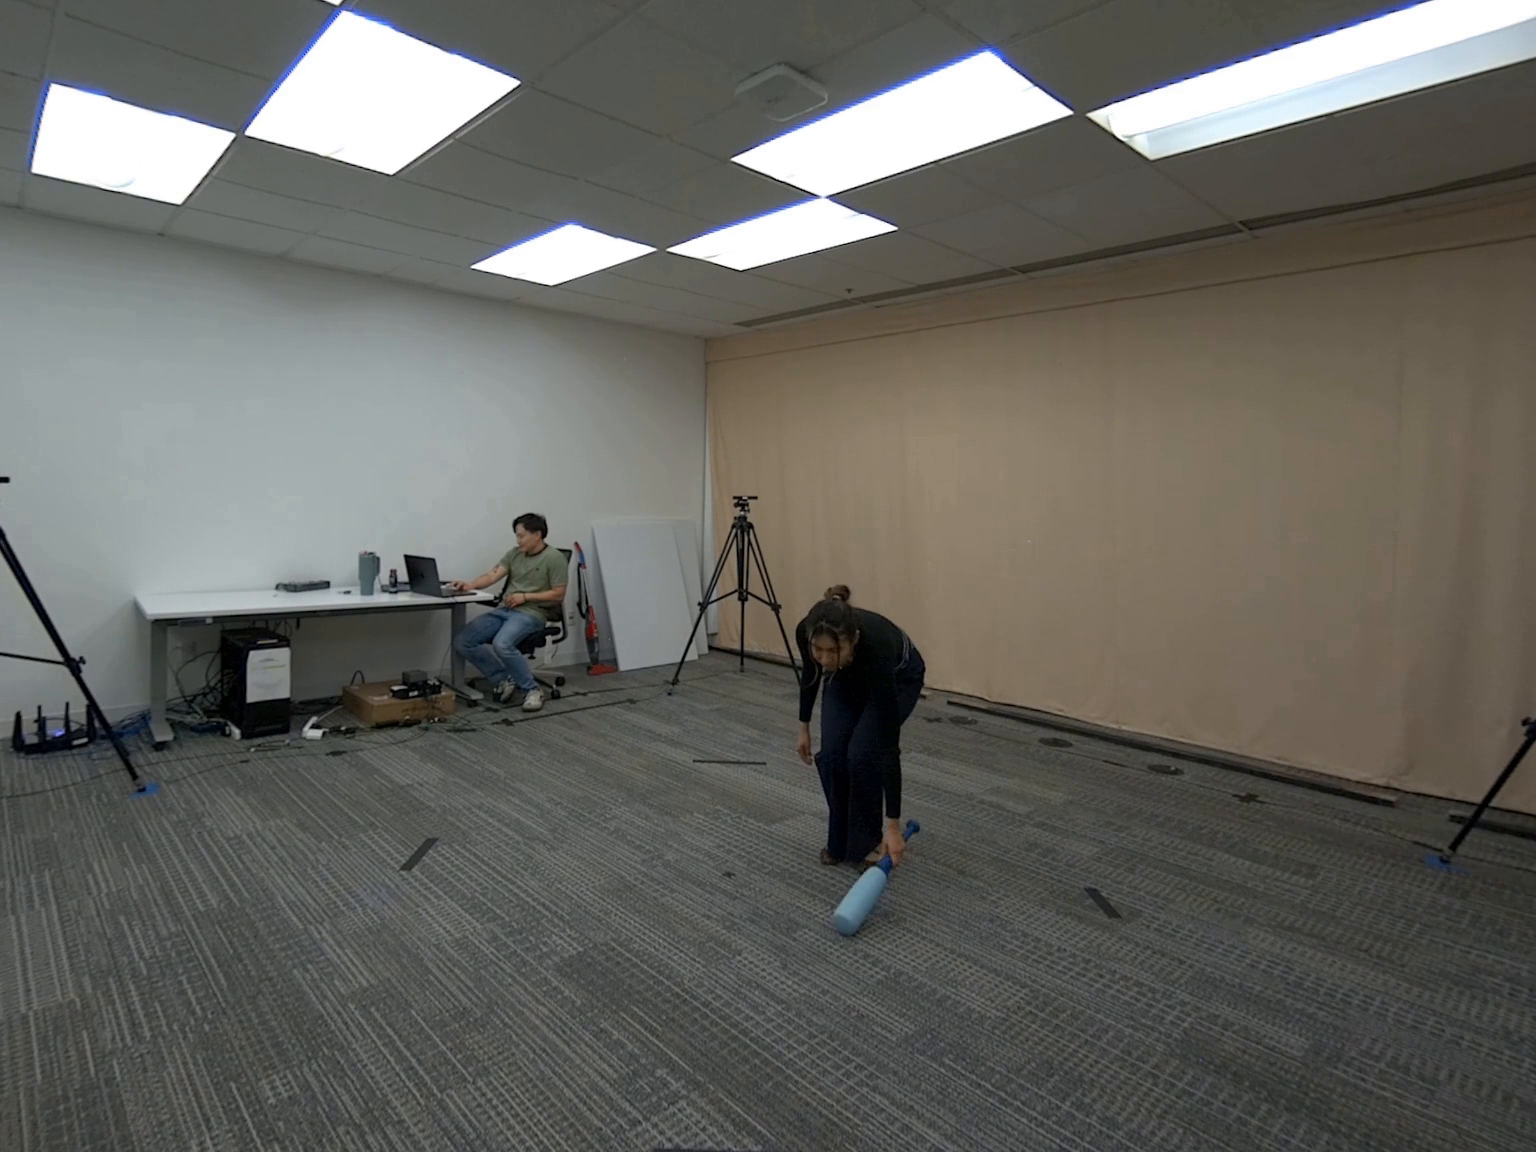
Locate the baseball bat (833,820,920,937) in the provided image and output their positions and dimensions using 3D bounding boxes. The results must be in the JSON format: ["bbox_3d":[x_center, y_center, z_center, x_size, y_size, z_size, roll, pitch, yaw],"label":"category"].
[{"bbox_3d":[0.380,1.000,2.872,0.091,0.088,0.538,4,24,35],"label":"baseball bat"}]
